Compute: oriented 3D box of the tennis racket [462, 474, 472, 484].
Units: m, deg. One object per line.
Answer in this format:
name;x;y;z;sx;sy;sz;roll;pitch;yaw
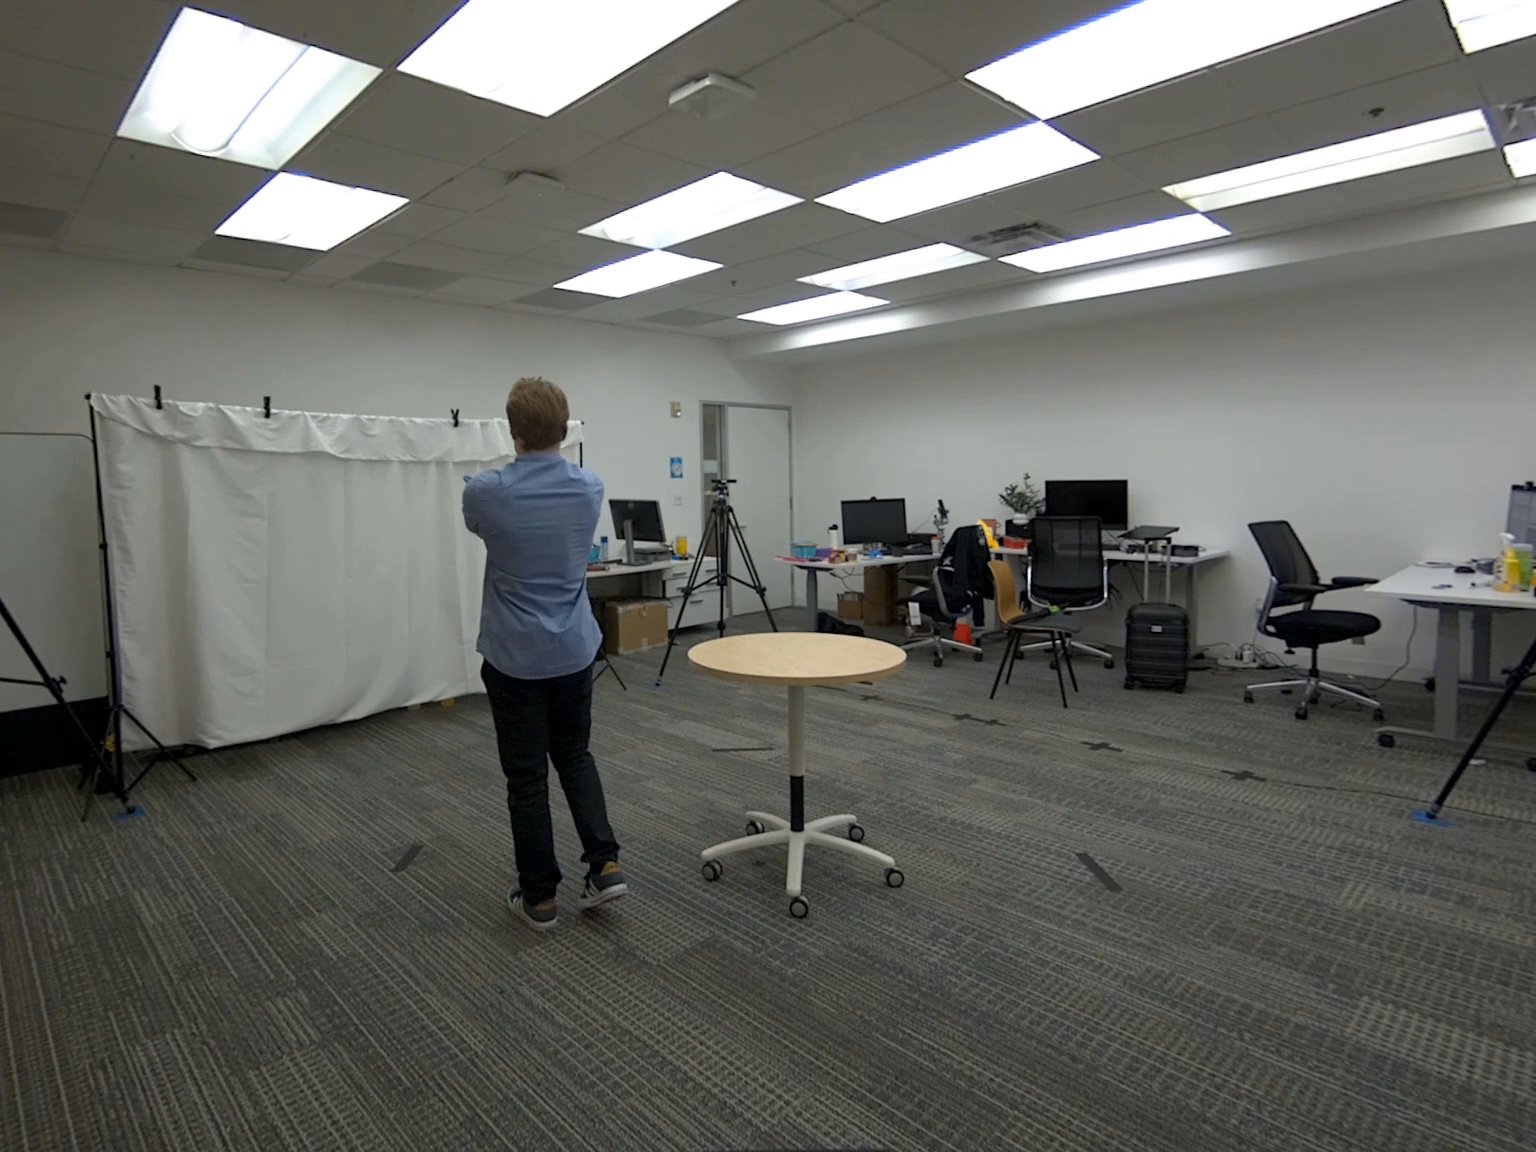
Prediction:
tennis racket;-1.033;-0.292;3.316;0.450;0.032;0.205;36;1;42
